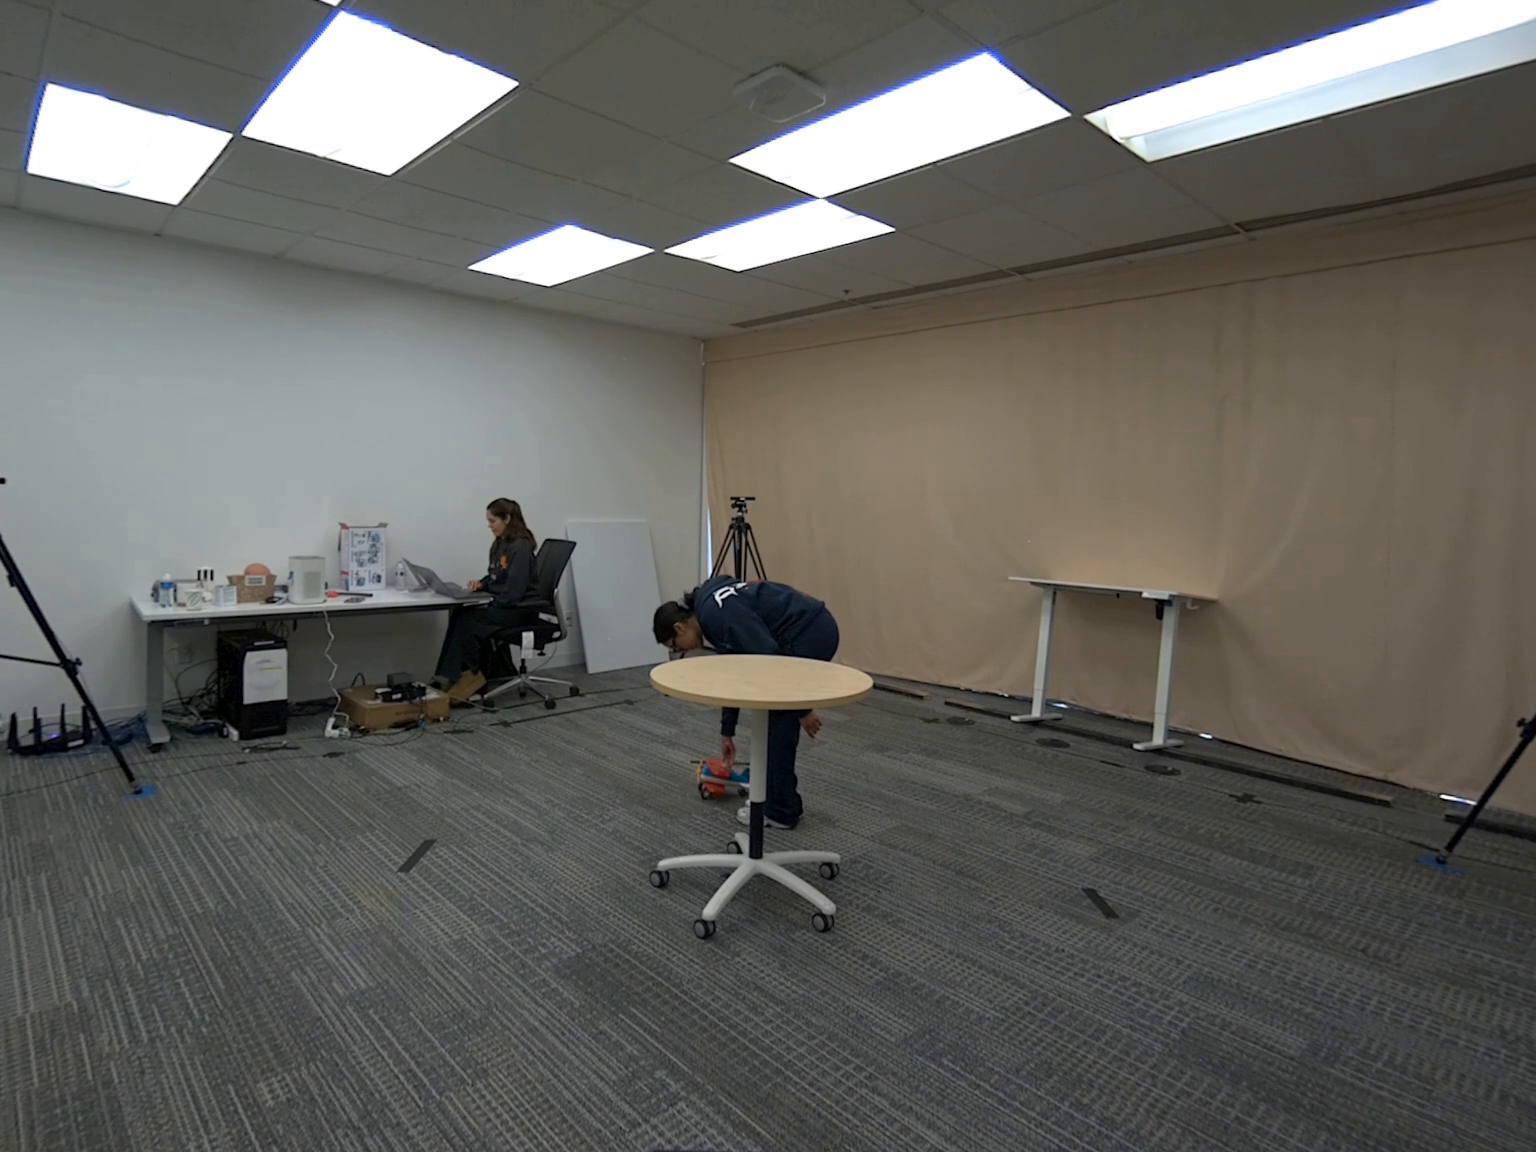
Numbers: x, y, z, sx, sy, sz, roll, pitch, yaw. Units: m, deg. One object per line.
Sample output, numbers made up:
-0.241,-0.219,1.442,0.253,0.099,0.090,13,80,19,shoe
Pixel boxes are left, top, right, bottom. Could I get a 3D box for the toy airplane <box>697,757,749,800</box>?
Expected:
-0.226,0.955,3.970,0.253,0.156,0.257,-1,4,-36,toy airplane
